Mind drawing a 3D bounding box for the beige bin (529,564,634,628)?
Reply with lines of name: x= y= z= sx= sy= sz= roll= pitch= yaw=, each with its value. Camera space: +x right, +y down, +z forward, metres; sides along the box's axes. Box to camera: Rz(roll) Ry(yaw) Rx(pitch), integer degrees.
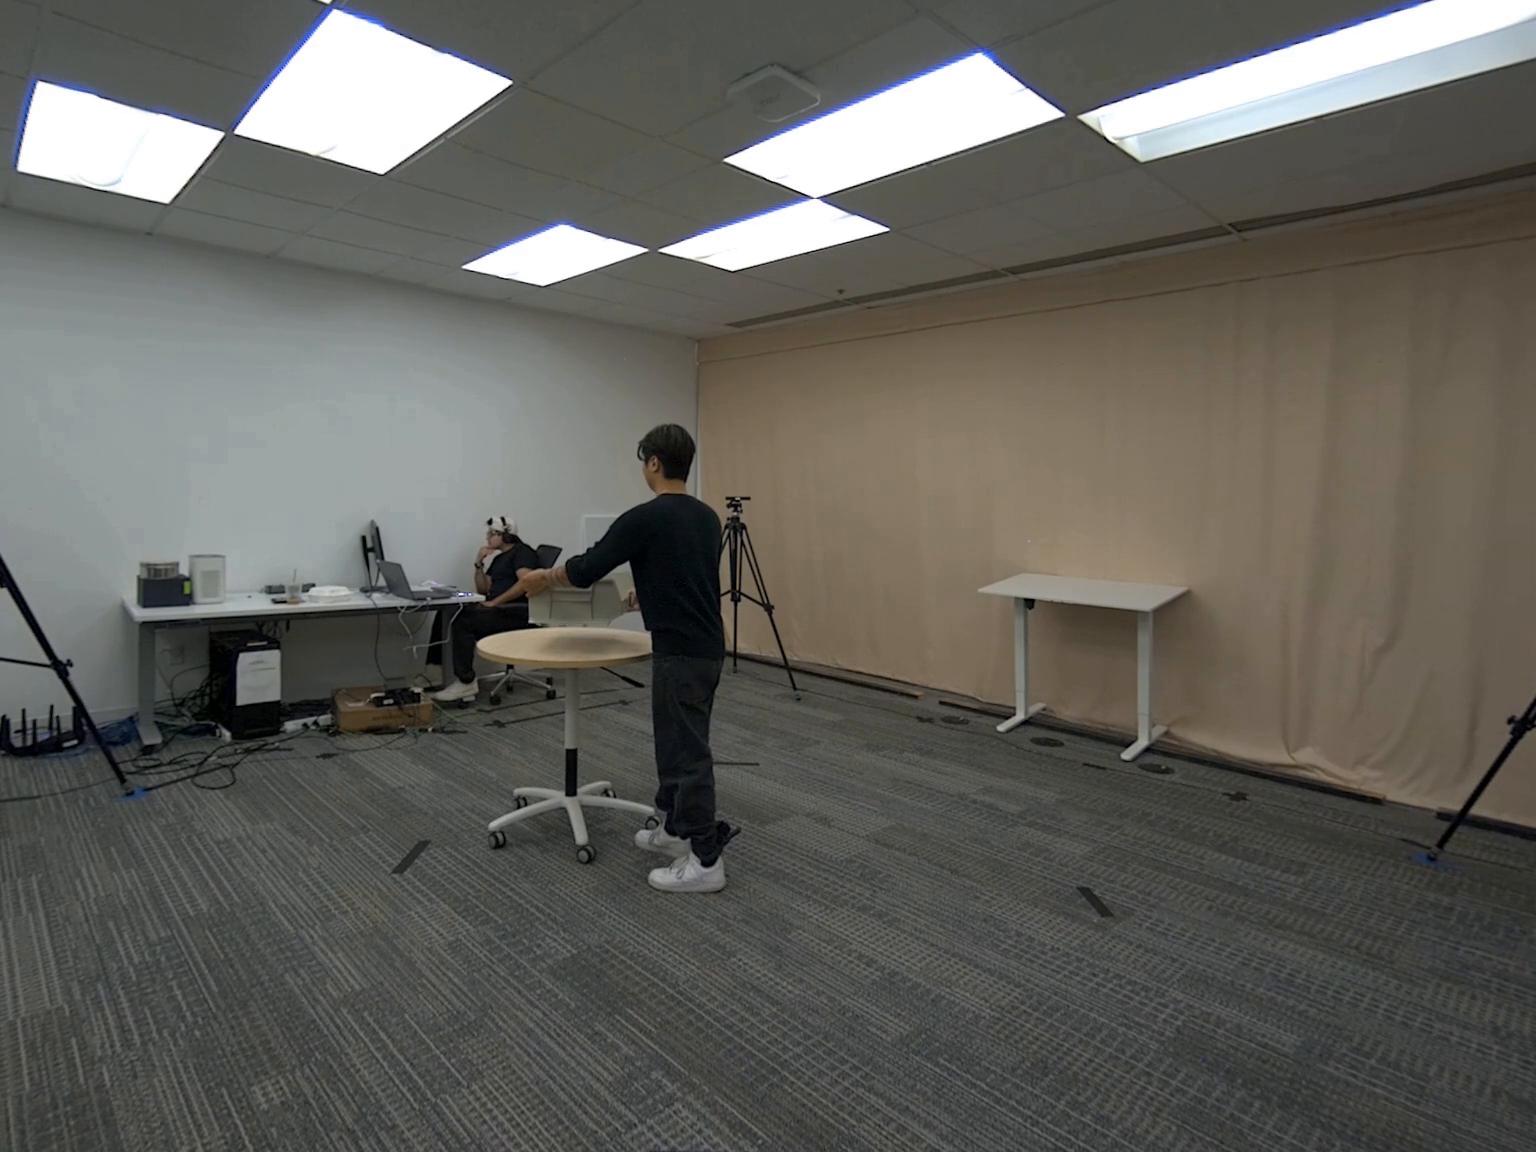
beige bin: x=-0.755 y=0.081 z=3.450 sx=0.377 sy=0.188 sz=0.424 roll=-1 pitch=5 yaw=-1
